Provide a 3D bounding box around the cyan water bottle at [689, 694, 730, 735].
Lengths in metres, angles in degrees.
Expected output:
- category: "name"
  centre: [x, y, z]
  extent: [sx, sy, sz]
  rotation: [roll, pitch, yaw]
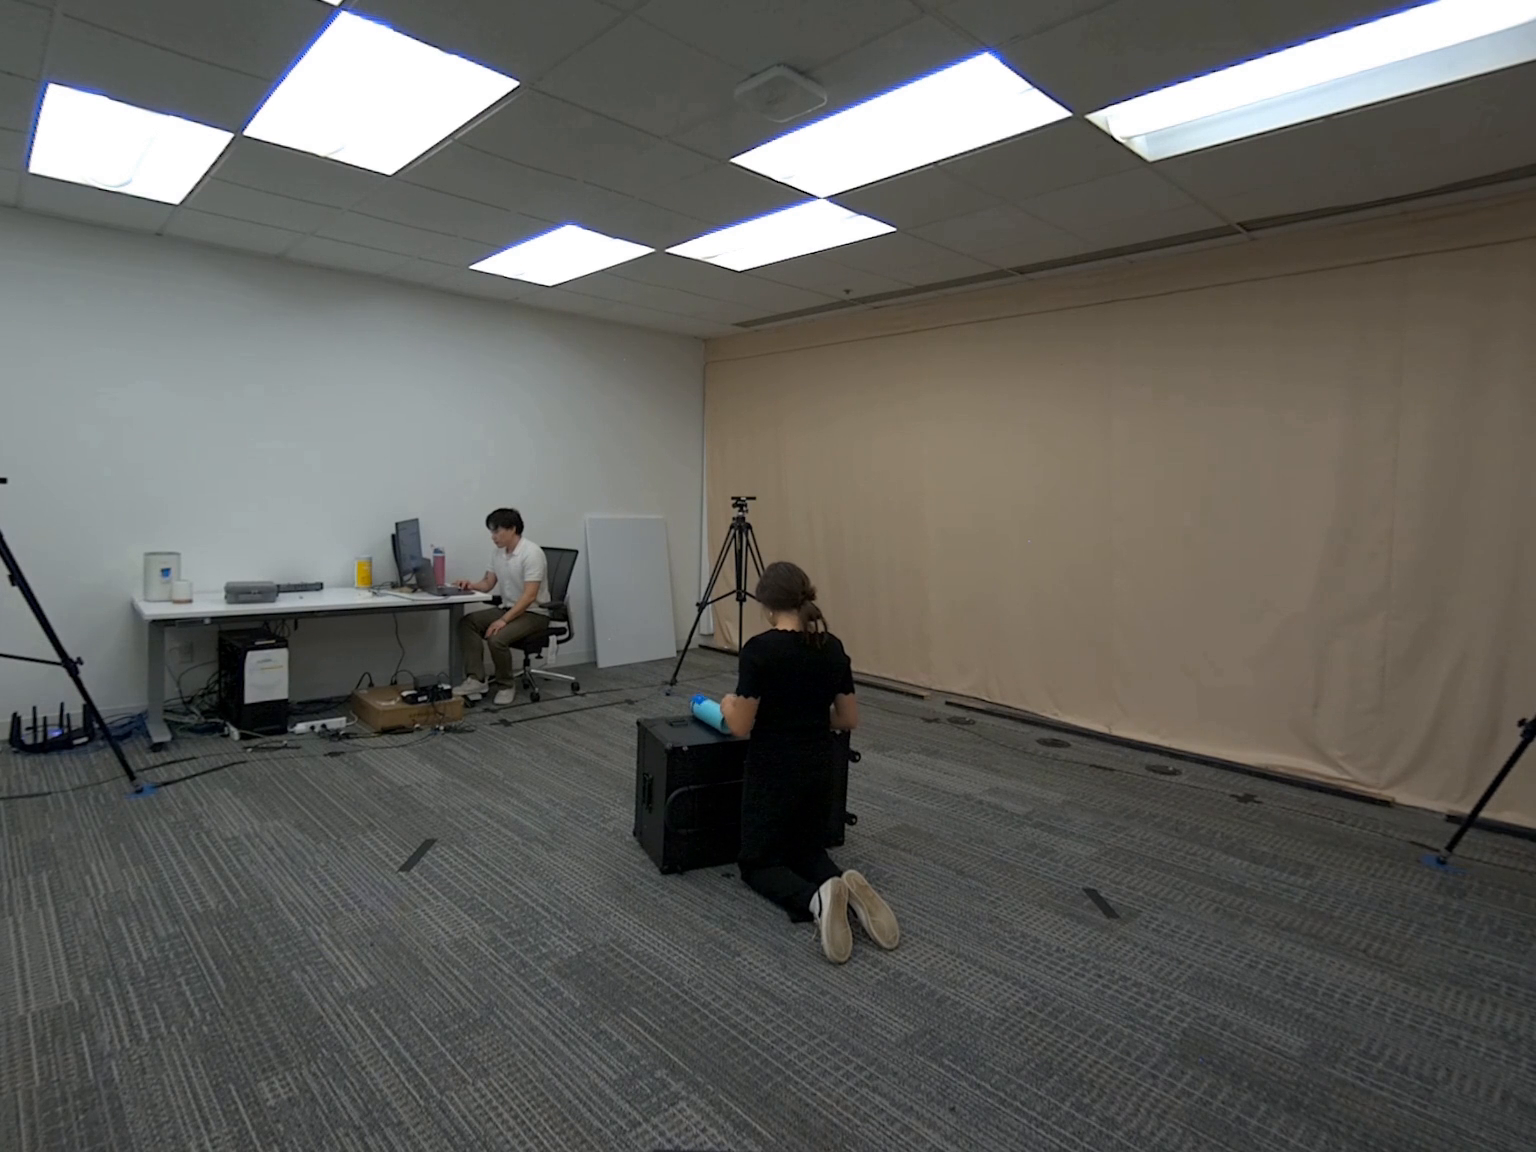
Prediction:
- category: "cyan water bottle"
  centre: [-0.232, 0.543, 3.346]
  extent: [0.090, 0.092, 0.291]
  rotation: [-1, 9, -32]
